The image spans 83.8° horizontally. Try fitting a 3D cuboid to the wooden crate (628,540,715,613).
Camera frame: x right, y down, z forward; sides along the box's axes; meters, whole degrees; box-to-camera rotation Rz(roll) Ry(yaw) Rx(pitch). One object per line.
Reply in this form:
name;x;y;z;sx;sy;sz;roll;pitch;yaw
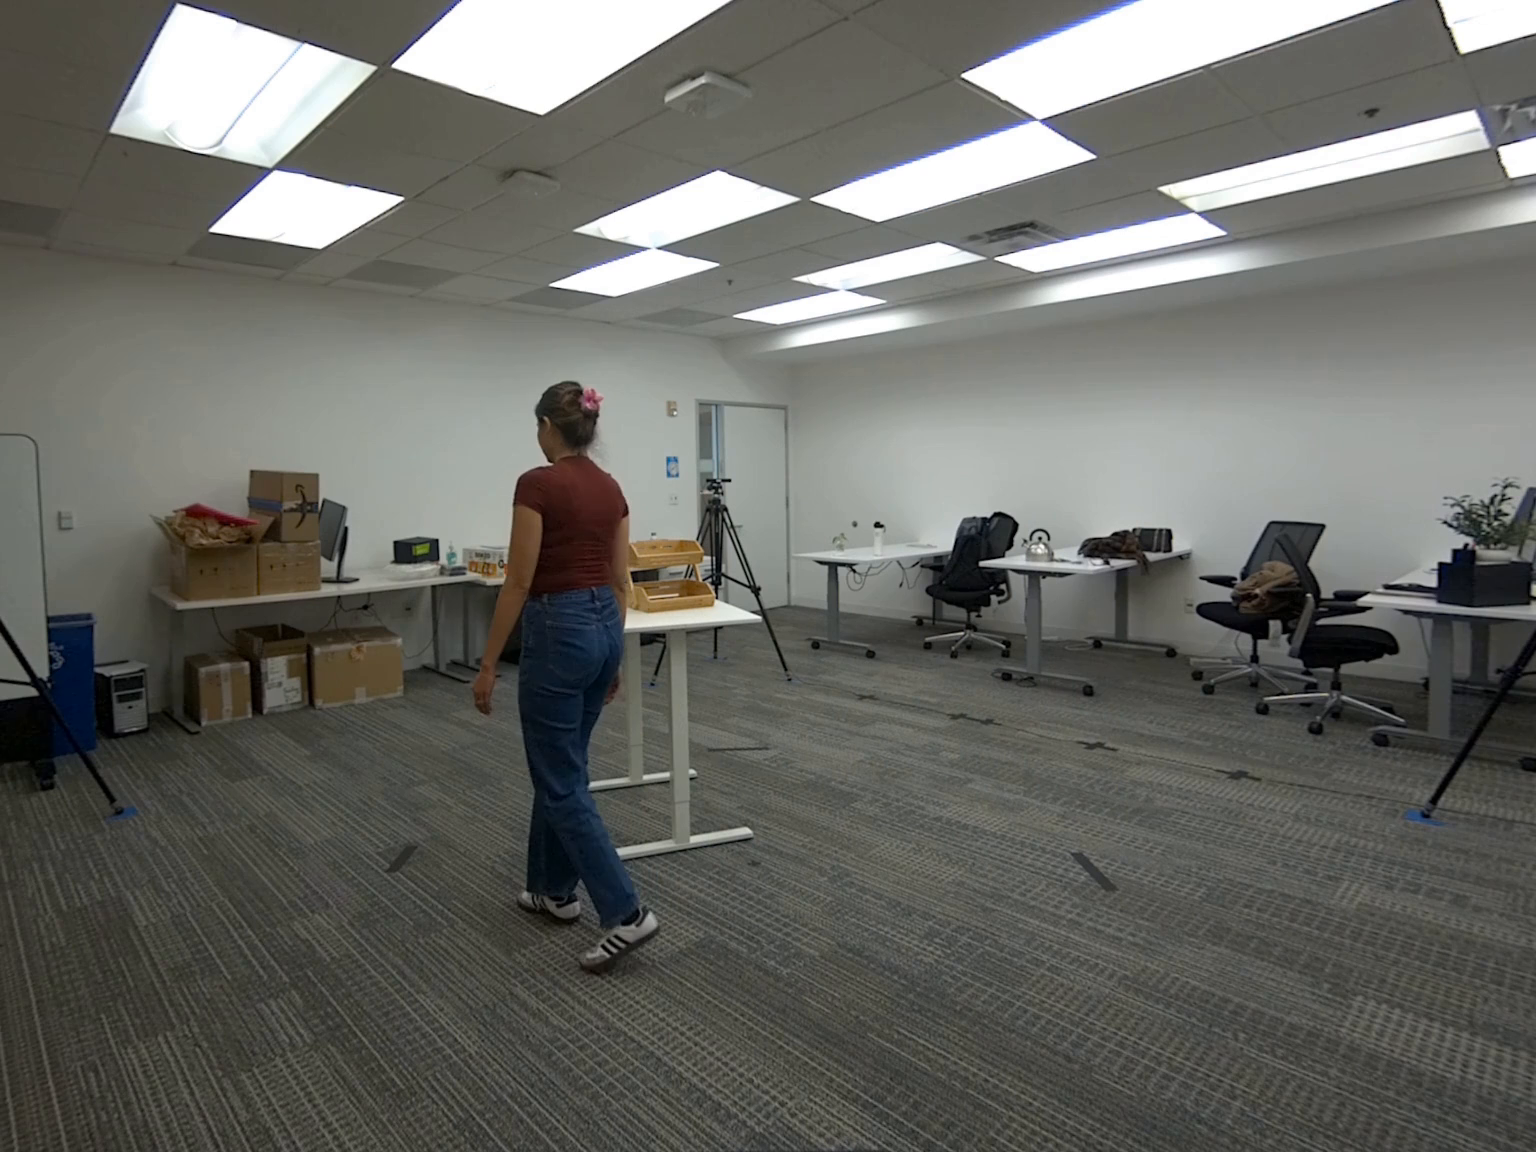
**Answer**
wooden crate;-0.422;-0.011;3.525;0.317;0.272;0.310;-4;5;-31
